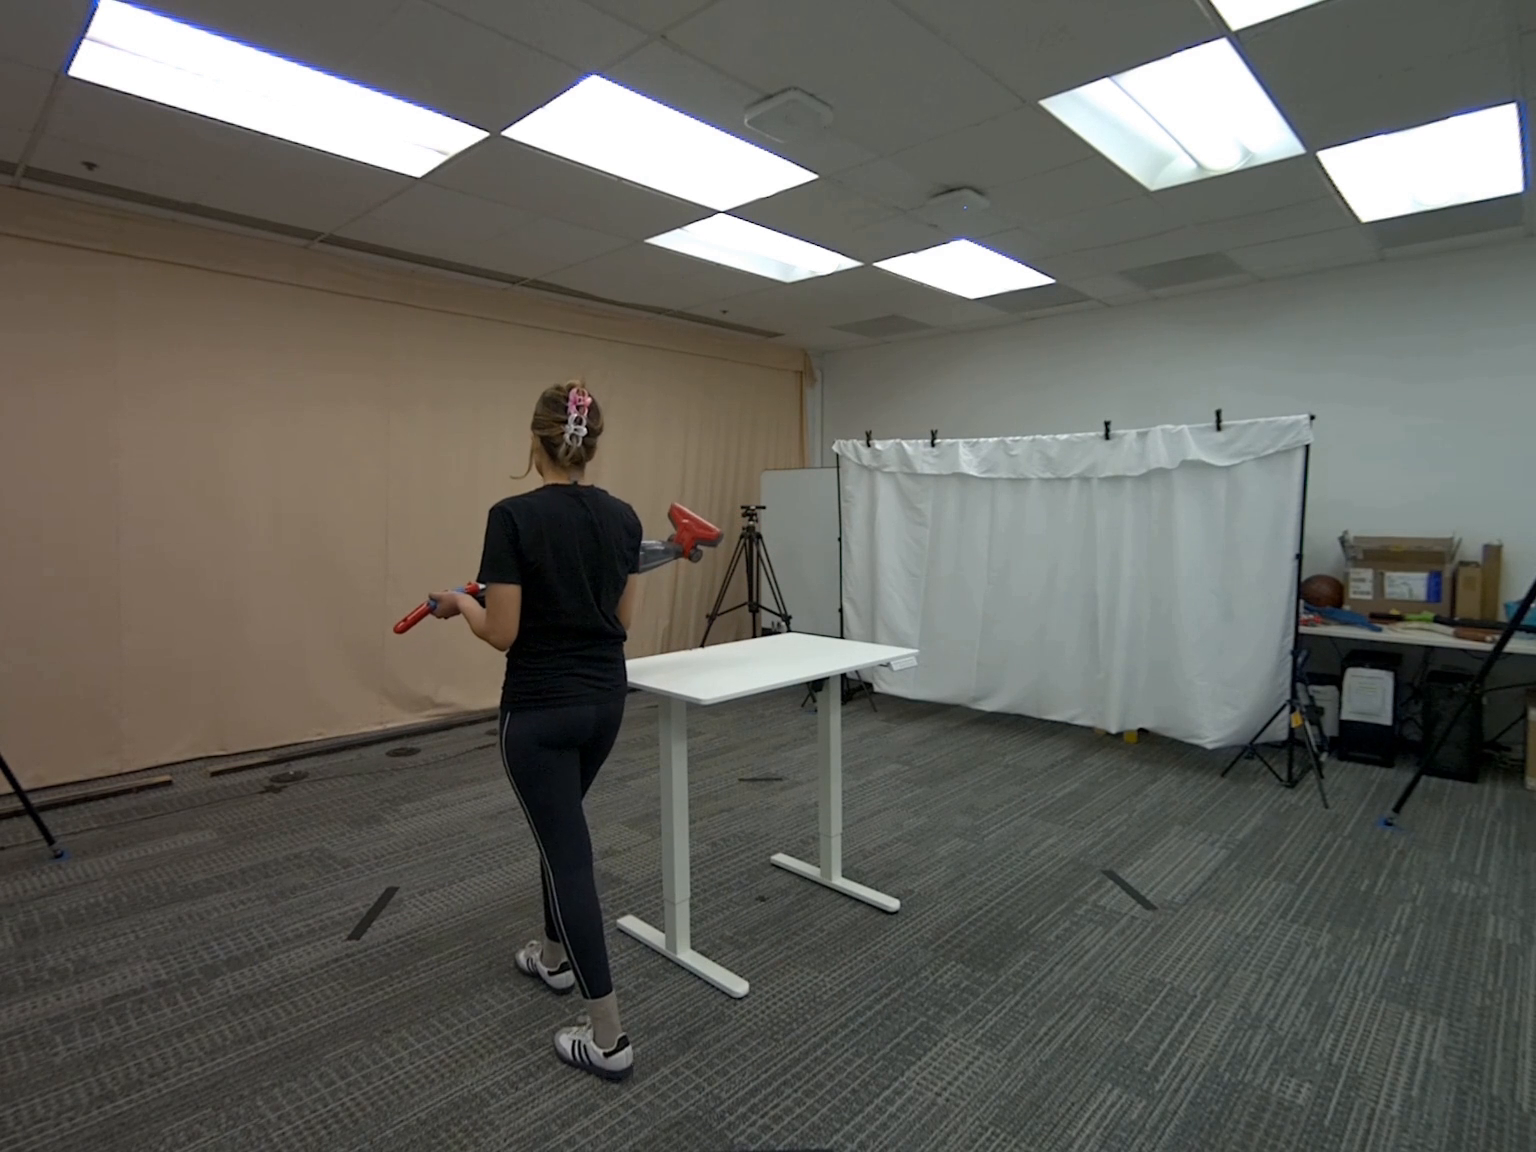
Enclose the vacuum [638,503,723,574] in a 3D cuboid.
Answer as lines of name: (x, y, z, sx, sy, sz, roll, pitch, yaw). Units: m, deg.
vacuum: (-0.605, -0.001, 2.563, 1.025, 0.142, 0.262, -21, 40, -38)
